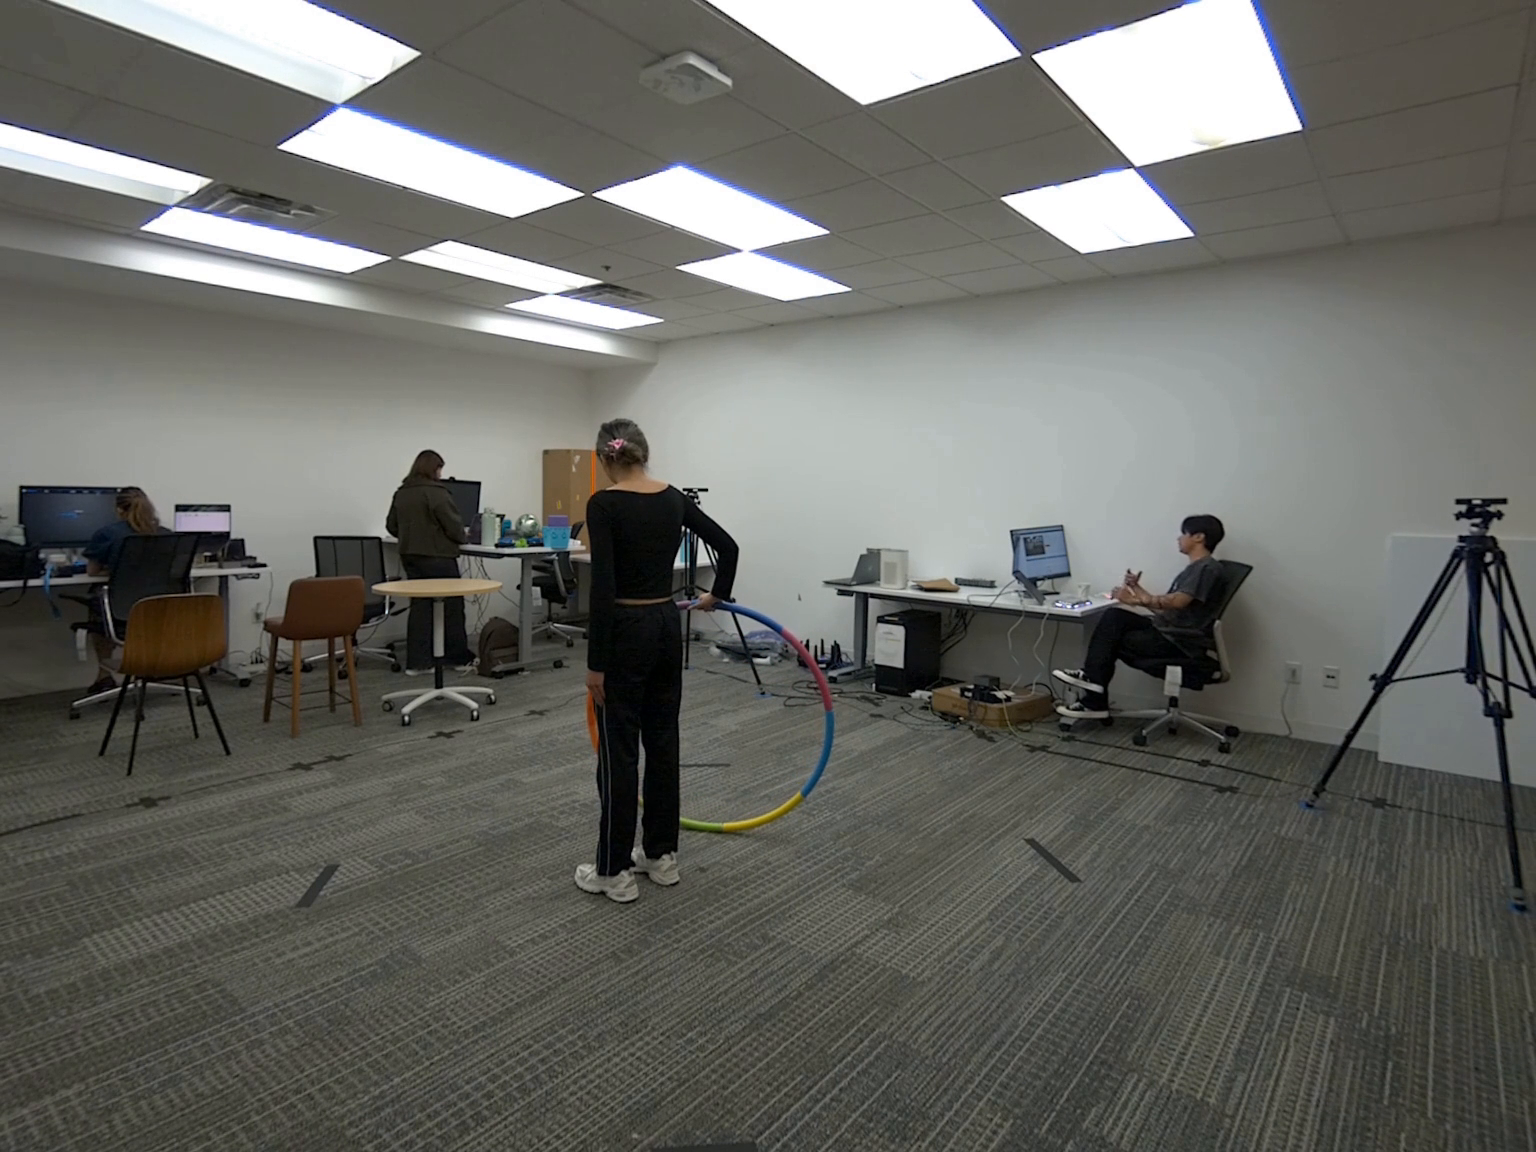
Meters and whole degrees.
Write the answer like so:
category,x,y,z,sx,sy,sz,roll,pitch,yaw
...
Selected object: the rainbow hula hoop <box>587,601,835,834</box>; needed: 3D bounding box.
category,x,y,z,sx,sy,sz,roll,pitch,yaw
rainbow hula hoop,-0.246,0.561,3.399,0.990,0.971,0.035,2,7,10
